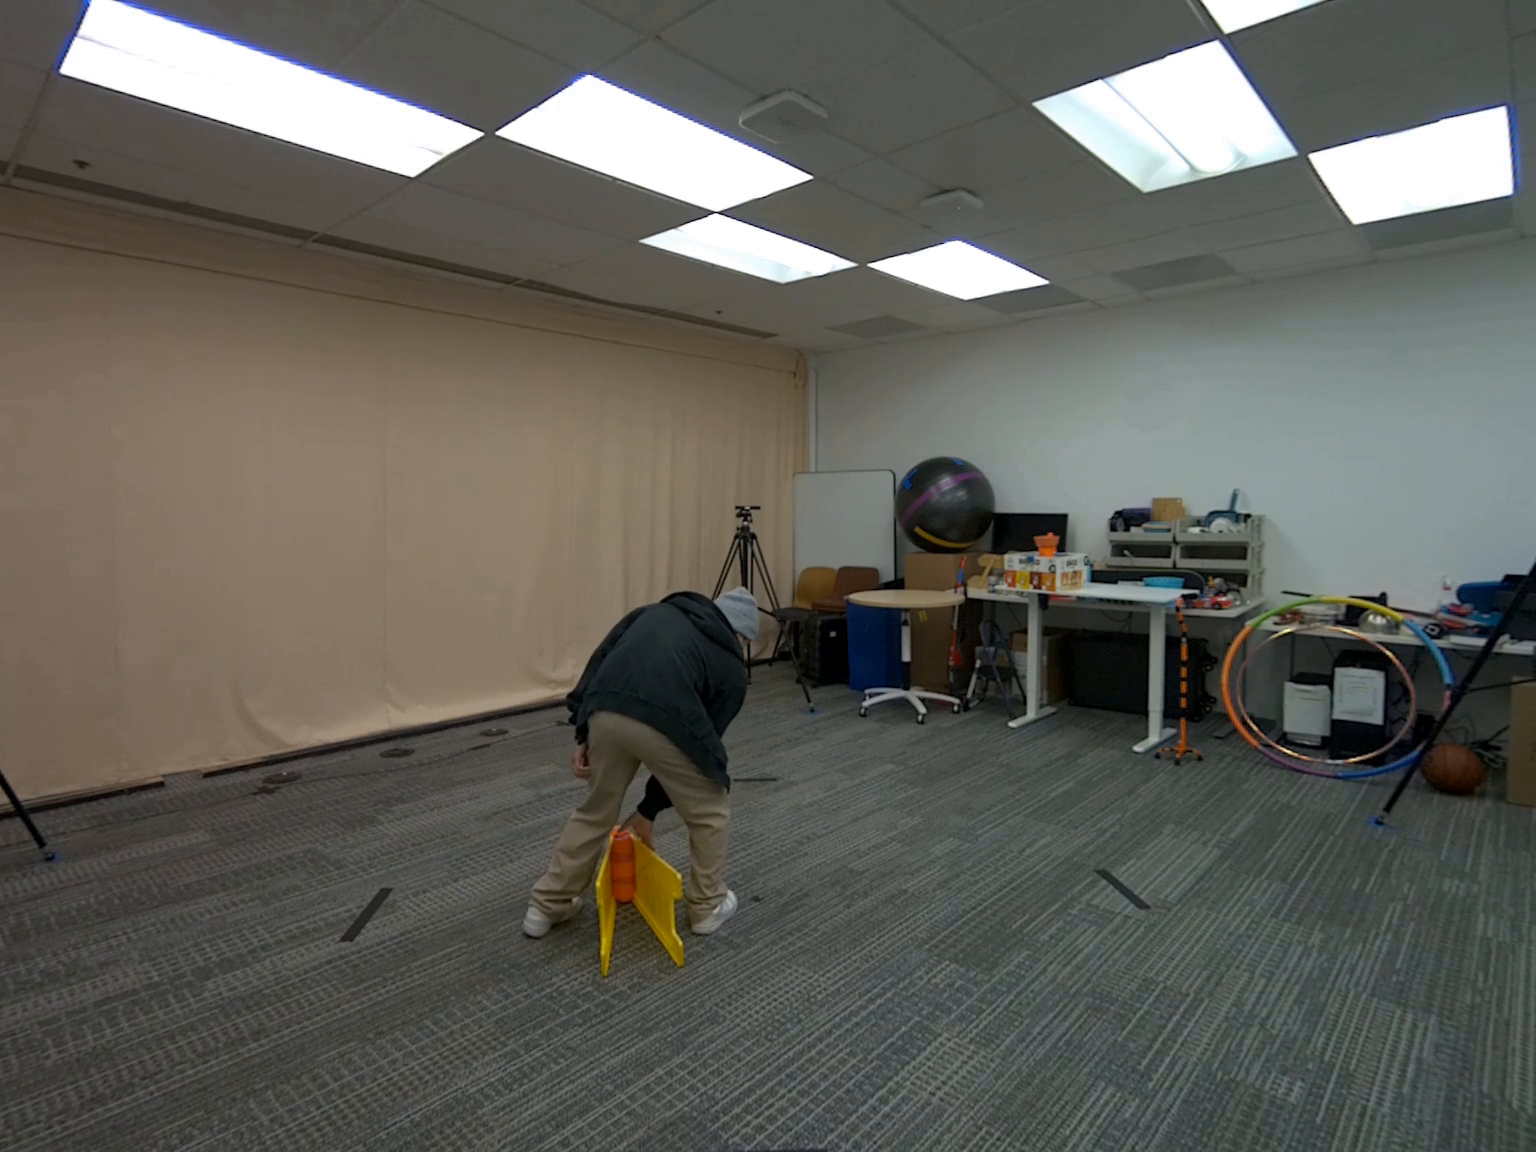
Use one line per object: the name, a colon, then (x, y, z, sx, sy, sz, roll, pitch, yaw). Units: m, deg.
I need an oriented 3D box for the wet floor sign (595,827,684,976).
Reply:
wet floor sign: (-0.475, 1.035, 2.821, 0.285, 0.282, 0.656, -1, 2, -15)
